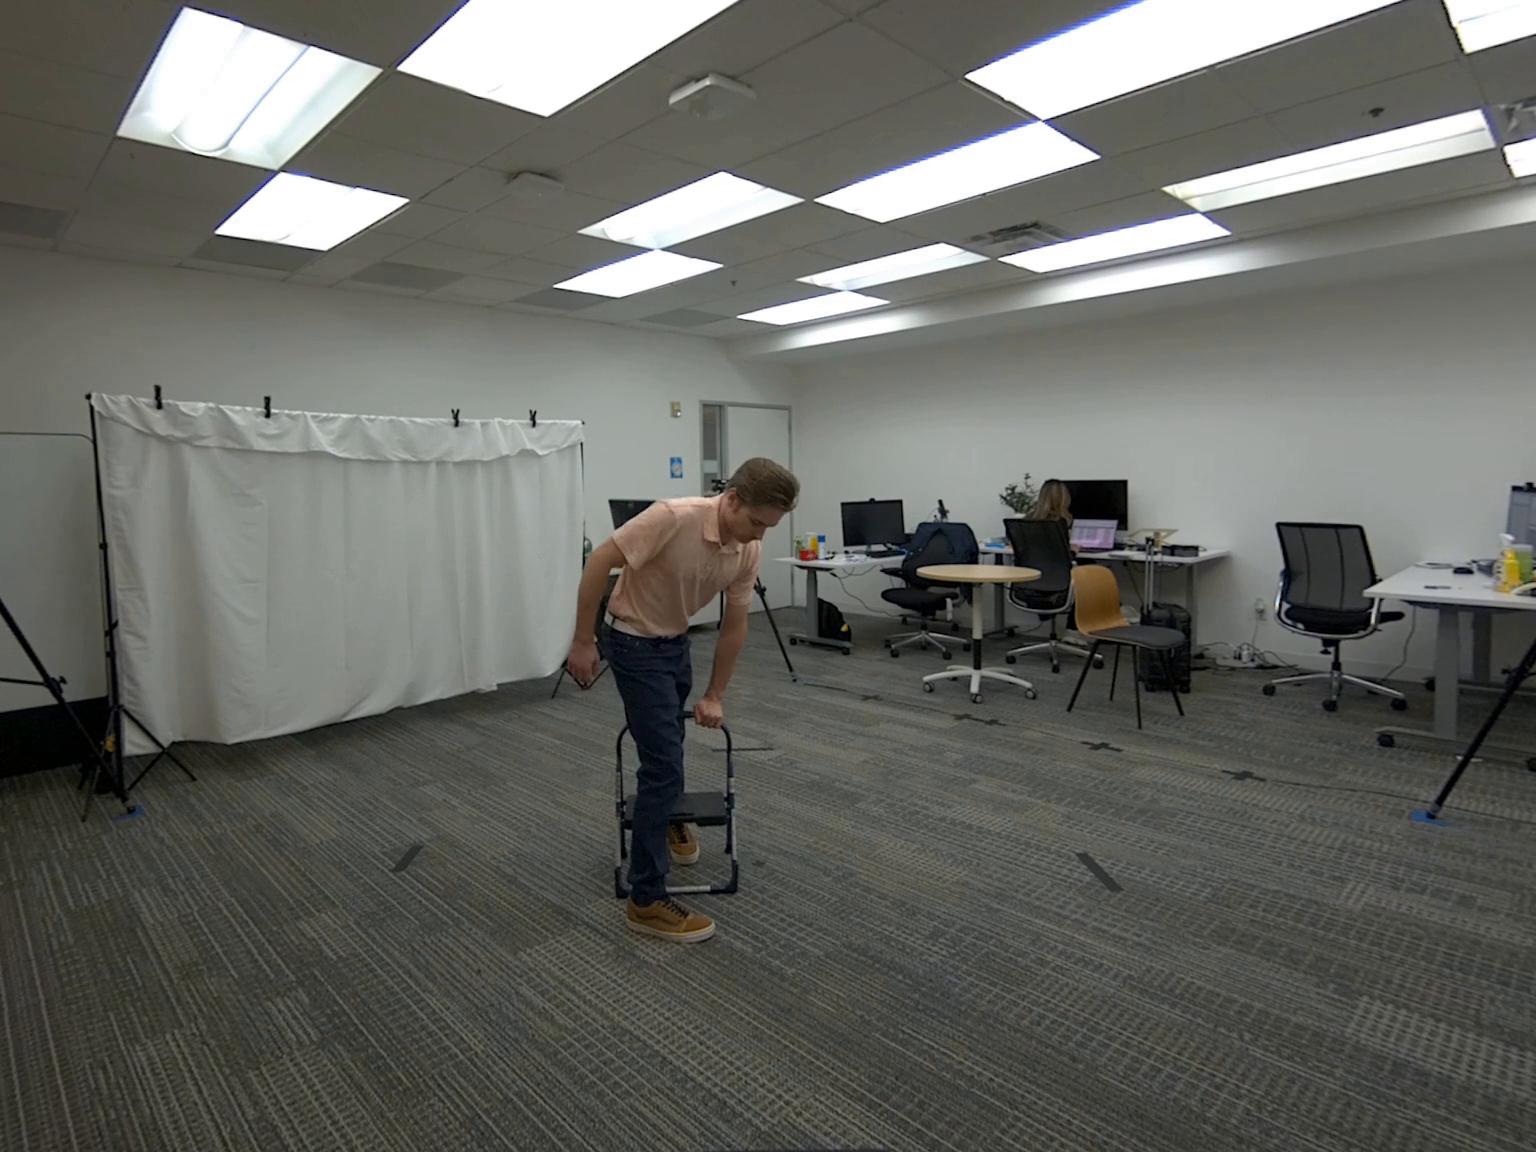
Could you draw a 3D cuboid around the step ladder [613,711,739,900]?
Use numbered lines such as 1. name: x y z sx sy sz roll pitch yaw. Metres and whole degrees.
1. step ladder: -0.328 0.761 3.024 0.429 0.604 0.352 -3 4 -5
